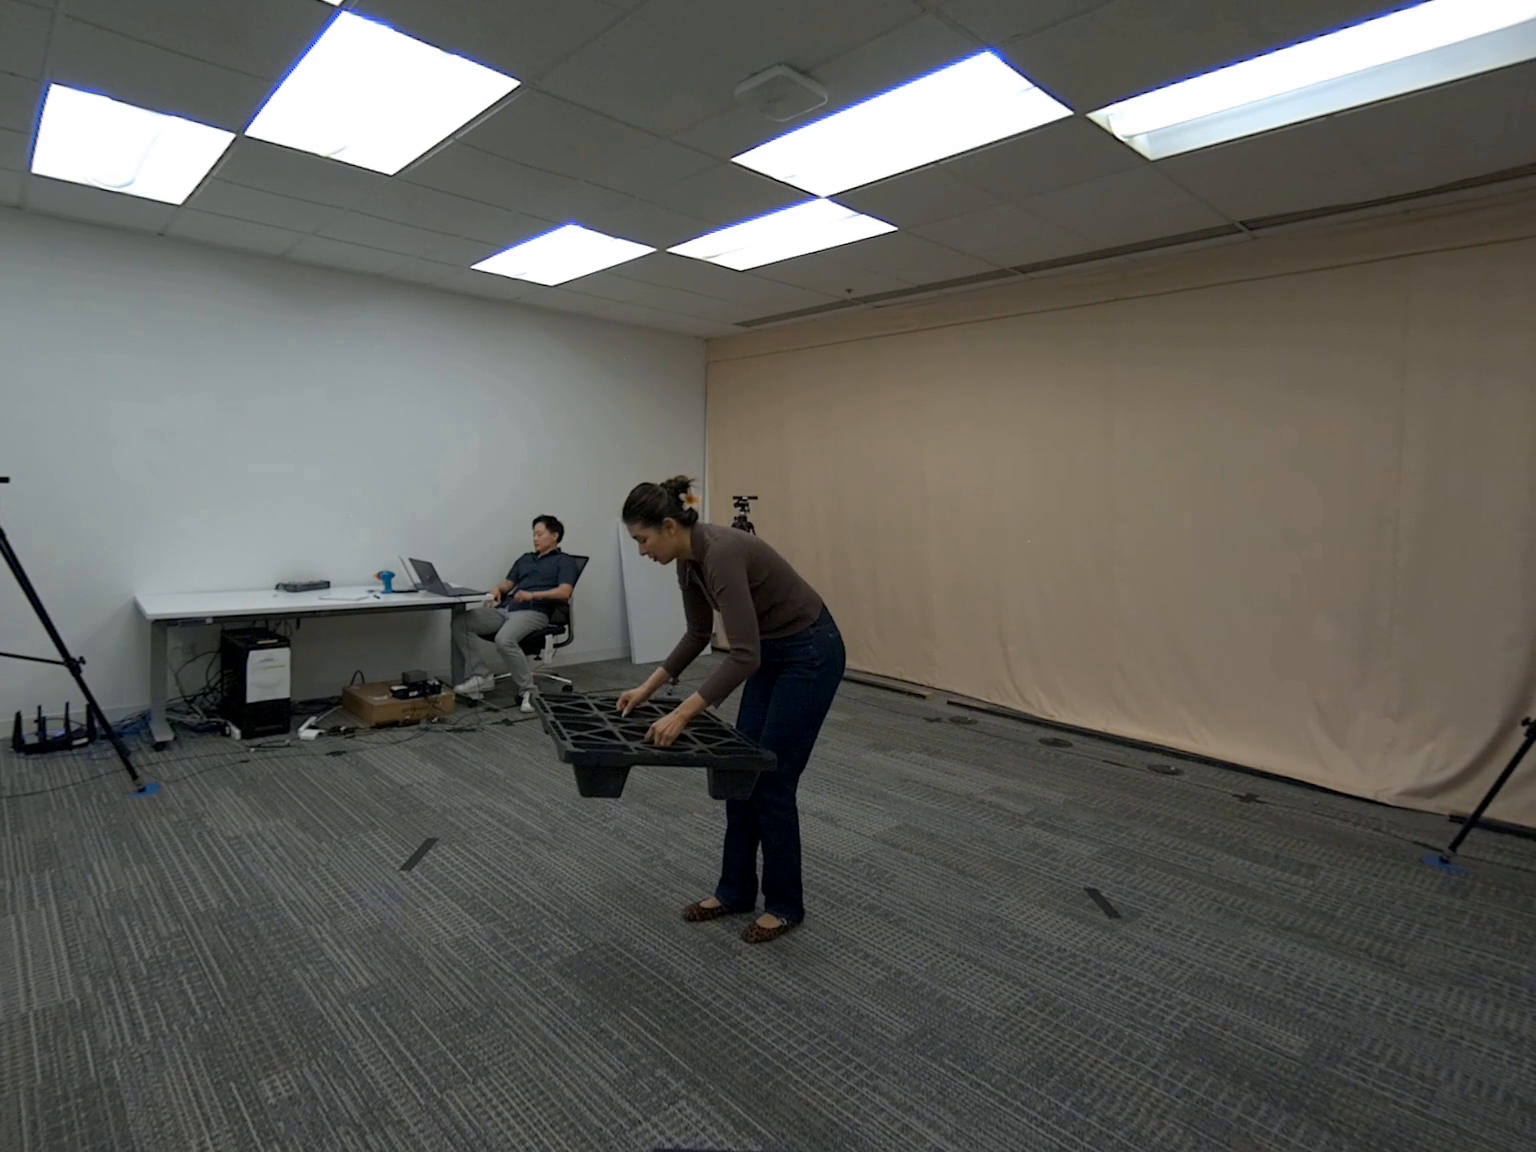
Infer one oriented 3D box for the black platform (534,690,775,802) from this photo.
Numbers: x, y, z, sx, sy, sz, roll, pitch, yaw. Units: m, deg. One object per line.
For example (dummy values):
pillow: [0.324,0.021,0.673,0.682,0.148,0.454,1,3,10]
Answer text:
black platform: [-0.406,0.524,2.607,0.595,0.143,0.819,6,1,-21]
